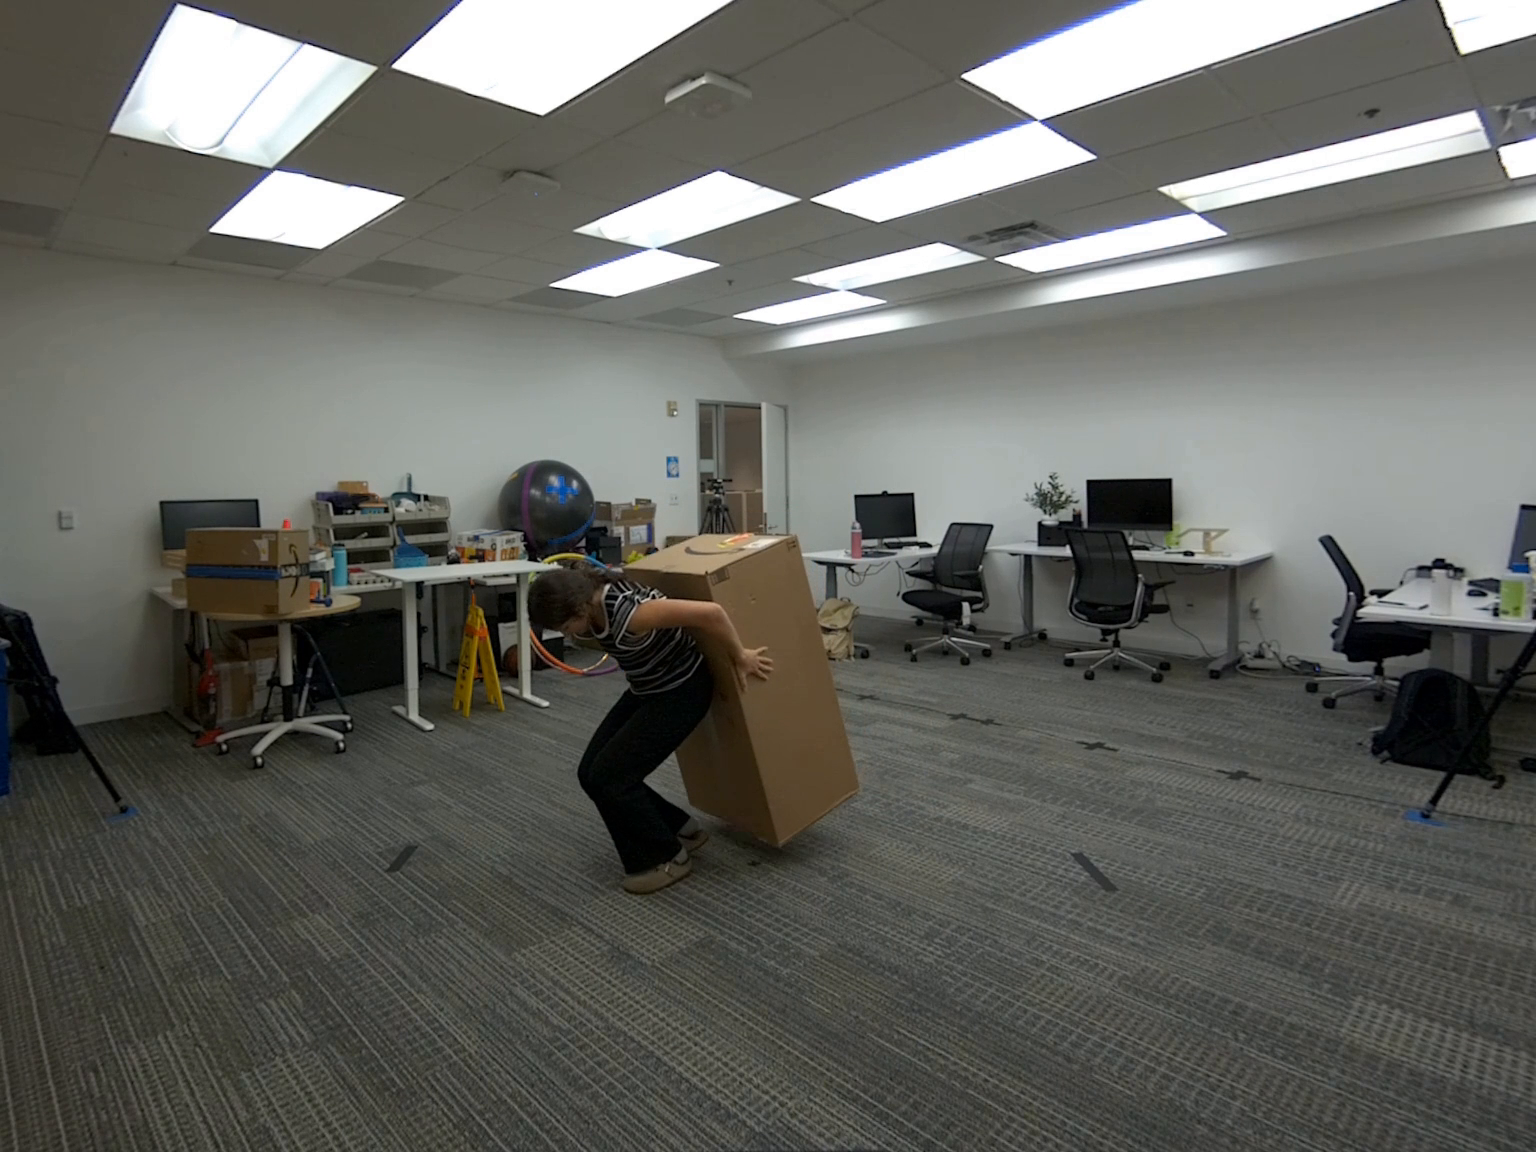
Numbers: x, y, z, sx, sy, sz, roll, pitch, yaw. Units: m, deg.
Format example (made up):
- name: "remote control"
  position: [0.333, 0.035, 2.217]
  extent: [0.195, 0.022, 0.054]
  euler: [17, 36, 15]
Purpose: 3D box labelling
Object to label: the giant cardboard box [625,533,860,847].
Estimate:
- name: "giant cardboard box"
  position: [-0.100, 0.389, 3.258]
  extent: [0.419, 1.013, 0.594]
  euler: [-22, 14, -36]
